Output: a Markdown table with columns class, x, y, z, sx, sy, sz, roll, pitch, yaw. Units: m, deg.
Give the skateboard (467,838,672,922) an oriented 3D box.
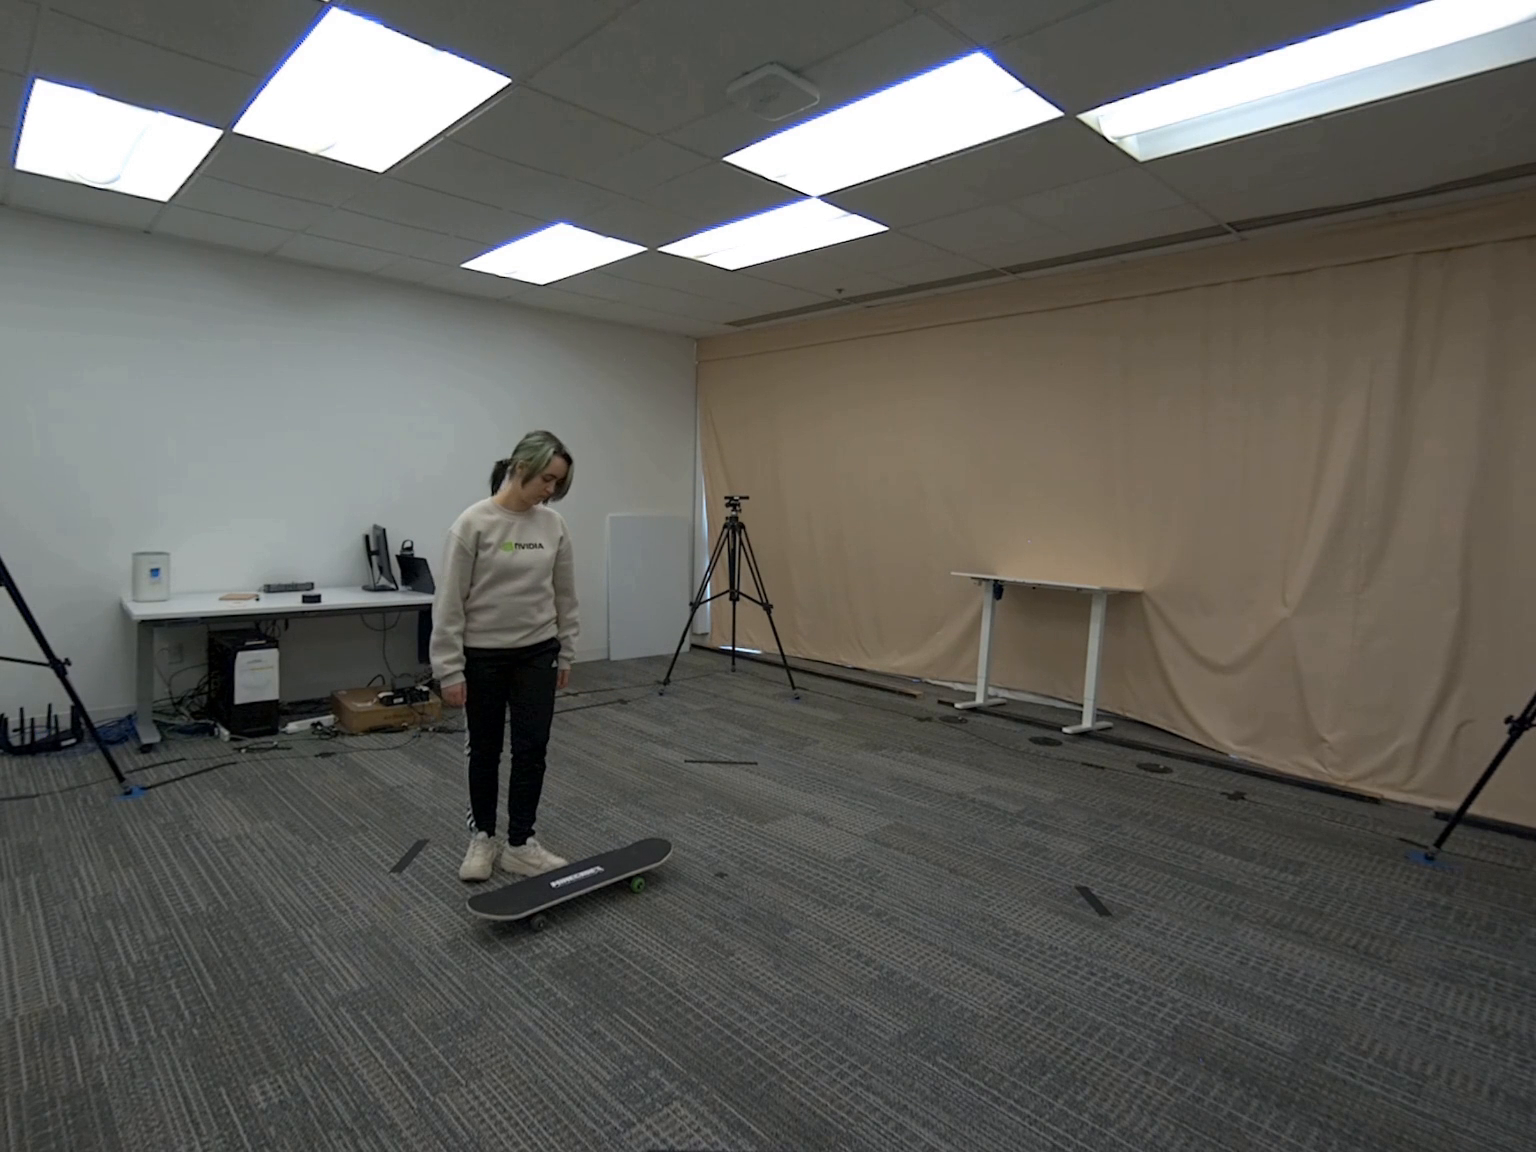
| class | x | y | z | sx | sy | sz | roll | pitch | yaw |
| --- | --- | --- | --- | --- | --- | --- | --- | --- | --- |
| skateboard | -0.652 | 1.057 | 2.867 | 0.198 | 0.110 | 0.768 | 7 | 8 | 44 |
